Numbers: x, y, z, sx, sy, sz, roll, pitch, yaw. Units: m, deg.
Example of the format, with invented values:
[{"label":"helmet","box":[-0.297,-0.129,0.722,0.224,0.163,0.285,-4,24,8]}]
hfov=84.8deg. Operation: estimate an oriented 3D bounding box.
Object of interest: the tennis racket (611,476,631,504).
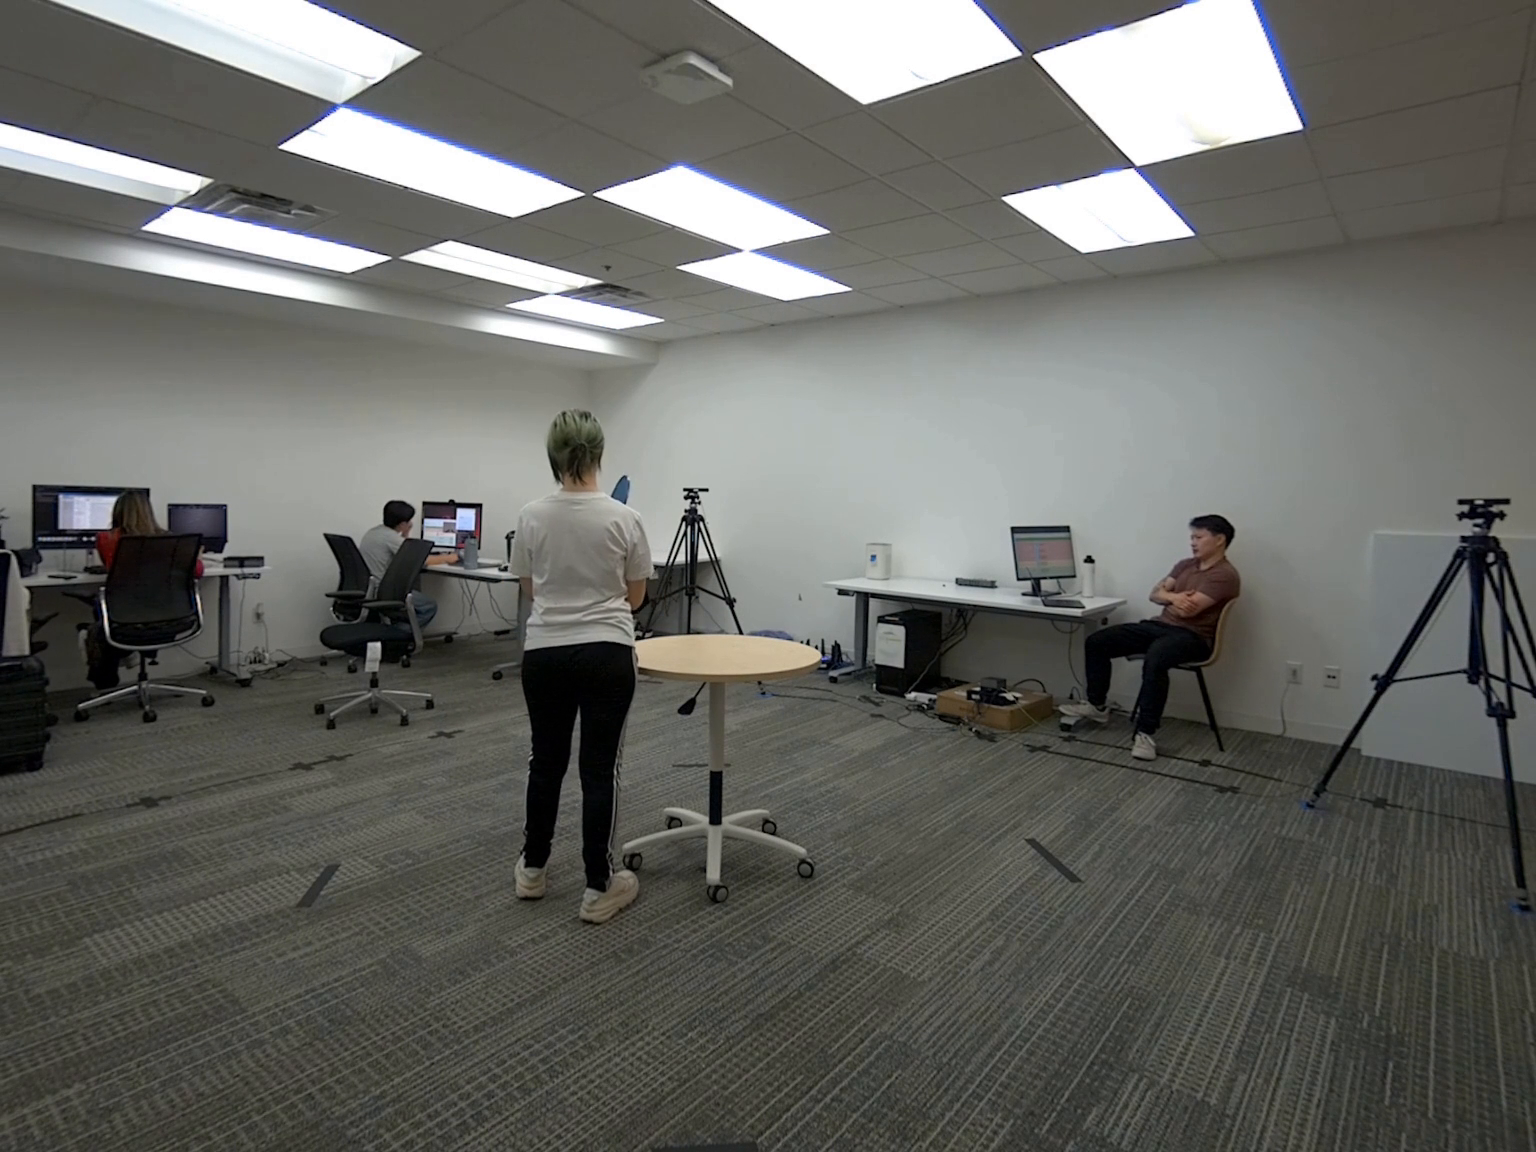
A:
[{"label":"tennis racket","box":[-0.594,-0.196,3.178,0.031,0.443,0.214,21,-36,-23]}]
